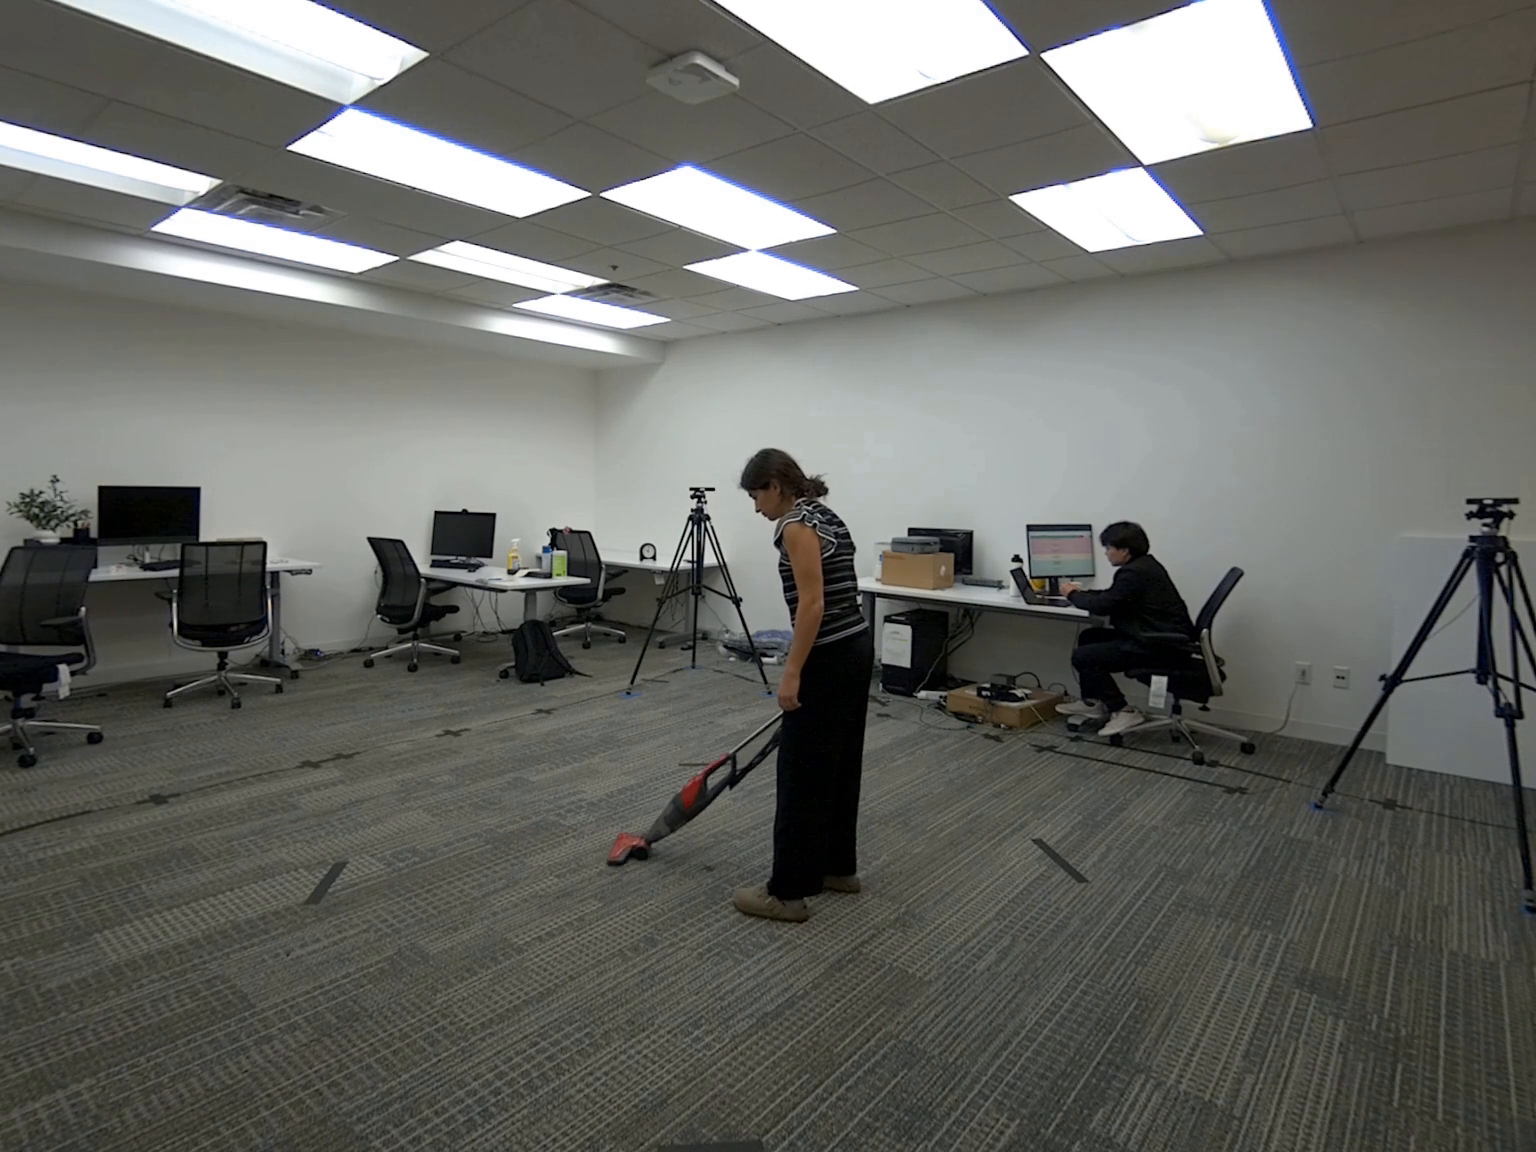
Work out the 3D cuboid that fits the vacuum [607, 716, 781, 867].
[{"bbox_3d":[-0.142,0.708,3.193,1.050,0.144,0.252,-40,0,4],"label":"vacuum"}]
